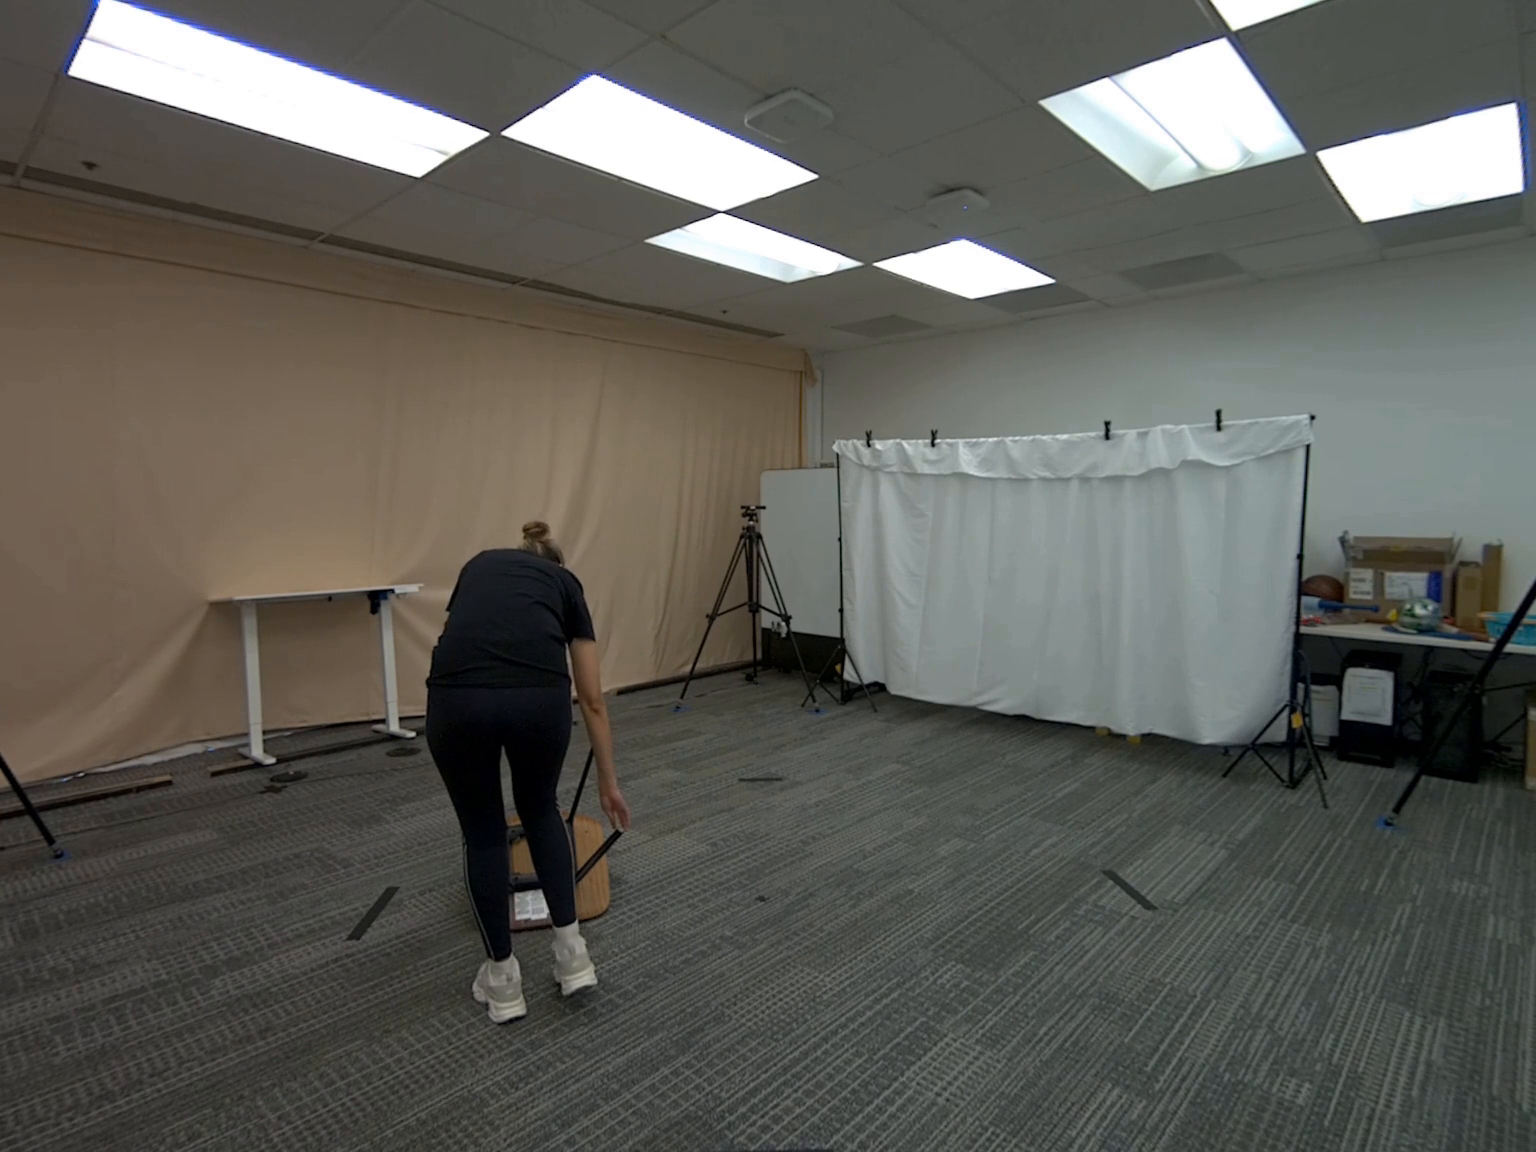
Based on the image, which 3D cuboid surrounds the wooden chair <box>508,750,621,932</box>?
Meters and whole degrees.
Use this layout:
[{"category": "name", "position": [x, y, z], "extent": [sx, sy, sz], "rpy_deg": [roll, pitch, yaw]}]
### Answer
[{"category": "wooden chair", "position": [-0.800, 0.982, 2.961], "extent": [0.470, 0.868, 0.538], "rpy_deg": [-1, 44, -18]}]
